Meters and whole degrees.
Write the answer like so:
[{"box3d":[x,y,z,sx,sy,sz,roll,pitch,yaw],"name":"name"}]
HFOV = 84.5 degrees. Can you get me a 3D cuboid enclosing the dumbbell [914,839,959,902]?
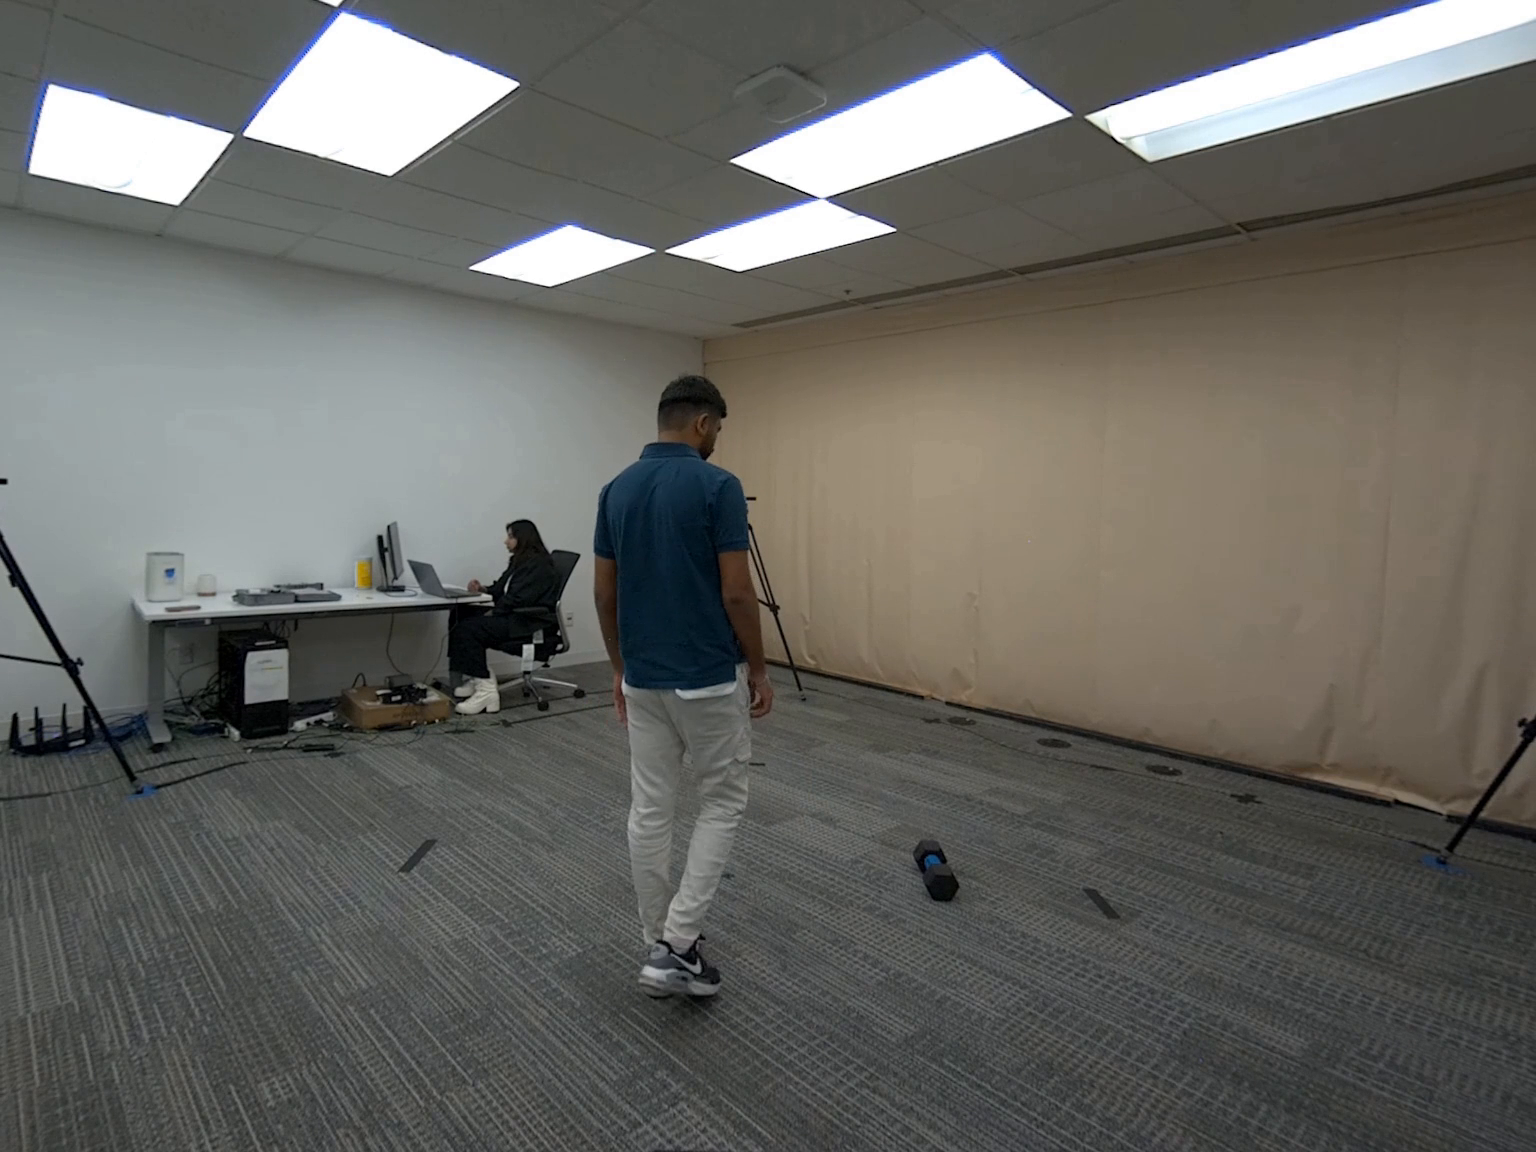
[{"box3d":[0.605,1.075,3.084,0.108,0.123,0.294,31,5,-2],"name":"dumbbell"}]
